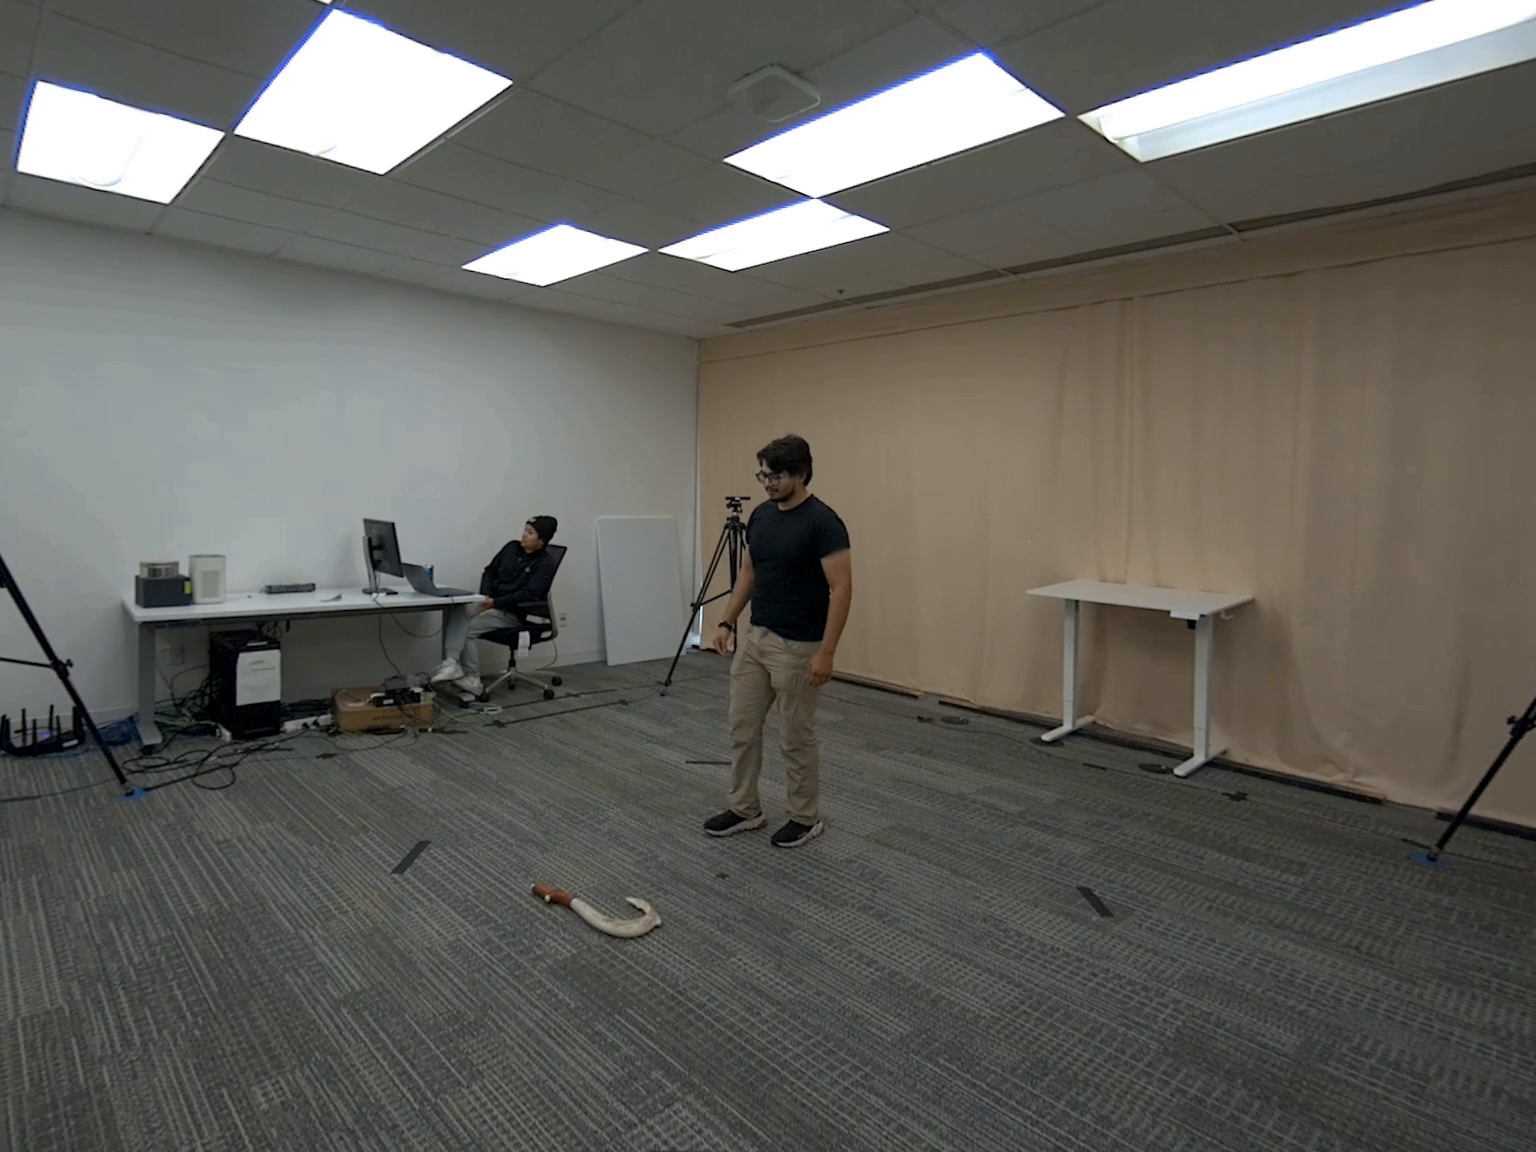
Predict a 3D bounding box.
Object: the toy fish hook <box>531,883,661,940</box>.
[{"bbox_3d":[-0.590,1.107,2.831,0.519,0.048,0.219,6,0,34],"label":"toy fish hook"}]
